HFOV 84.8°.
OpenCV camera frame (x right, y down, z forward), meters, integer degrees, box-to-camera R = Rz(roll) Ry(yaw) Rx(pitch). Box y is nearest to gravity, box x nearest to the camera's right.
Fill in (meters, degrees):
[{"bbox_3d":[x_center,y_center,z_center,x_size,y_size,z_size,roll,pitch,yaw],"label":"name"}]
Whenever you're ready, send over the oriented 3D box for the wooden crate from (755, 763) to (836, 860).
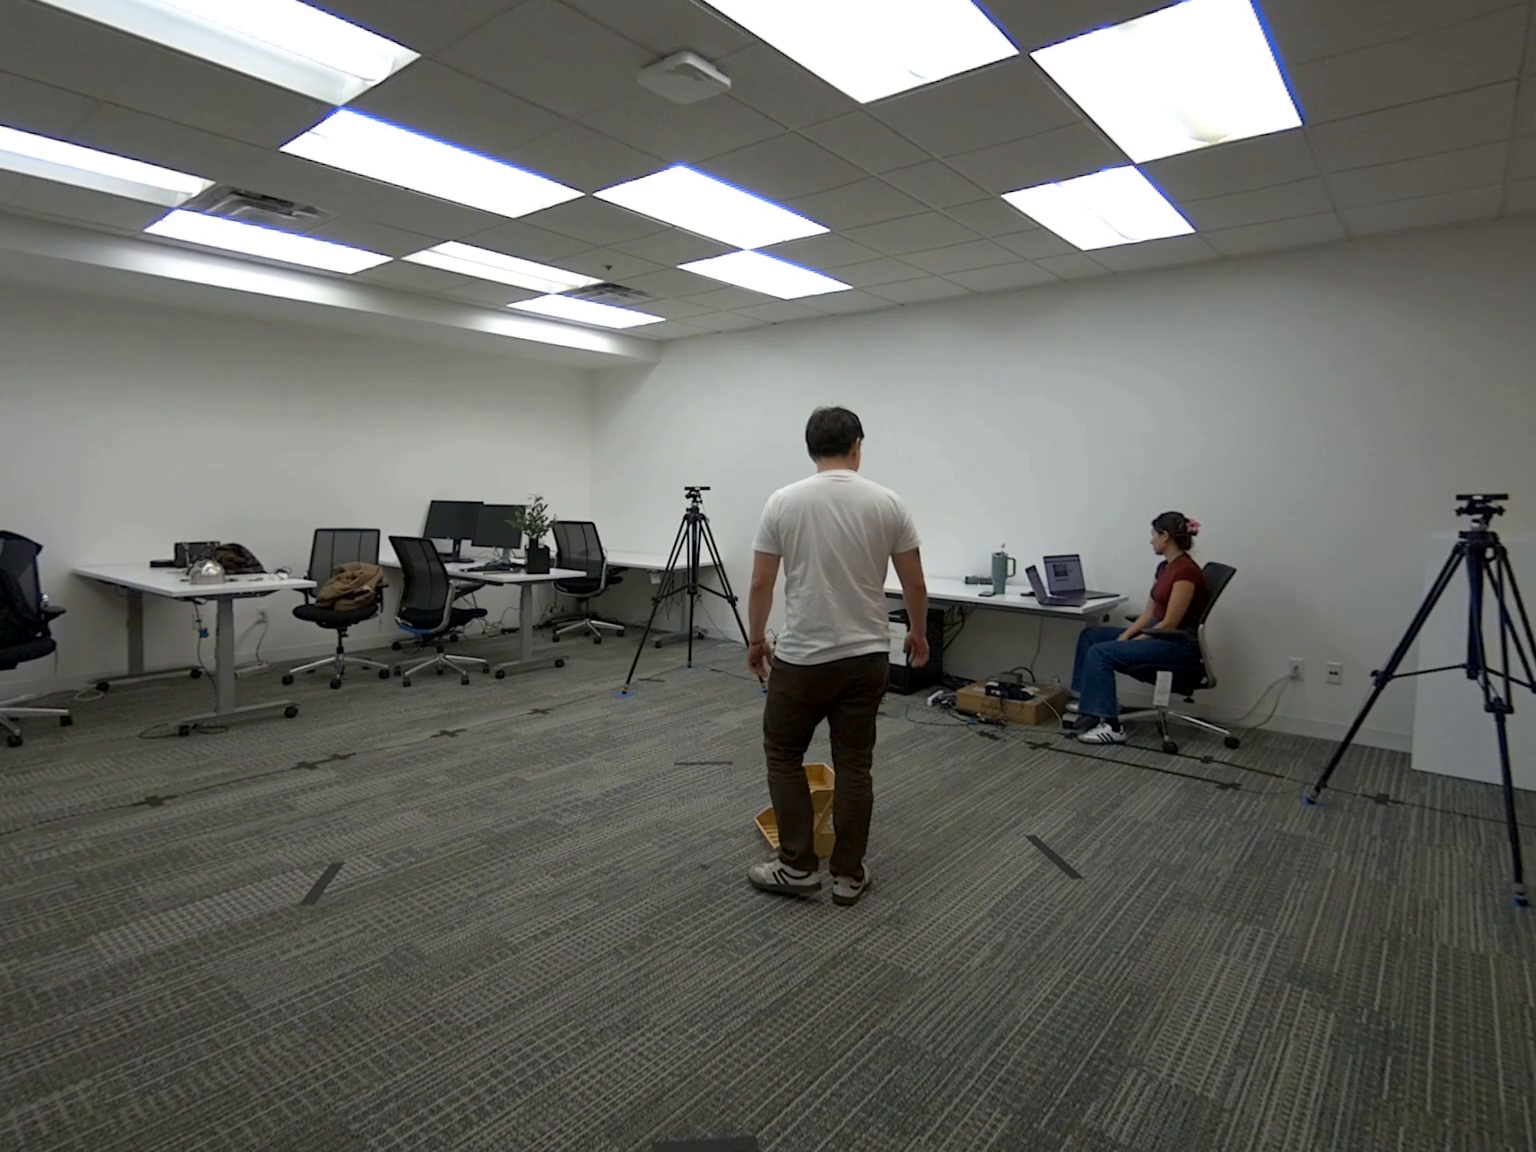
[{"bbox_3d":[0.117,0.906,3.342,0.298,0.272,0.330,0,5,-15],"label":"wooden crate"}]
